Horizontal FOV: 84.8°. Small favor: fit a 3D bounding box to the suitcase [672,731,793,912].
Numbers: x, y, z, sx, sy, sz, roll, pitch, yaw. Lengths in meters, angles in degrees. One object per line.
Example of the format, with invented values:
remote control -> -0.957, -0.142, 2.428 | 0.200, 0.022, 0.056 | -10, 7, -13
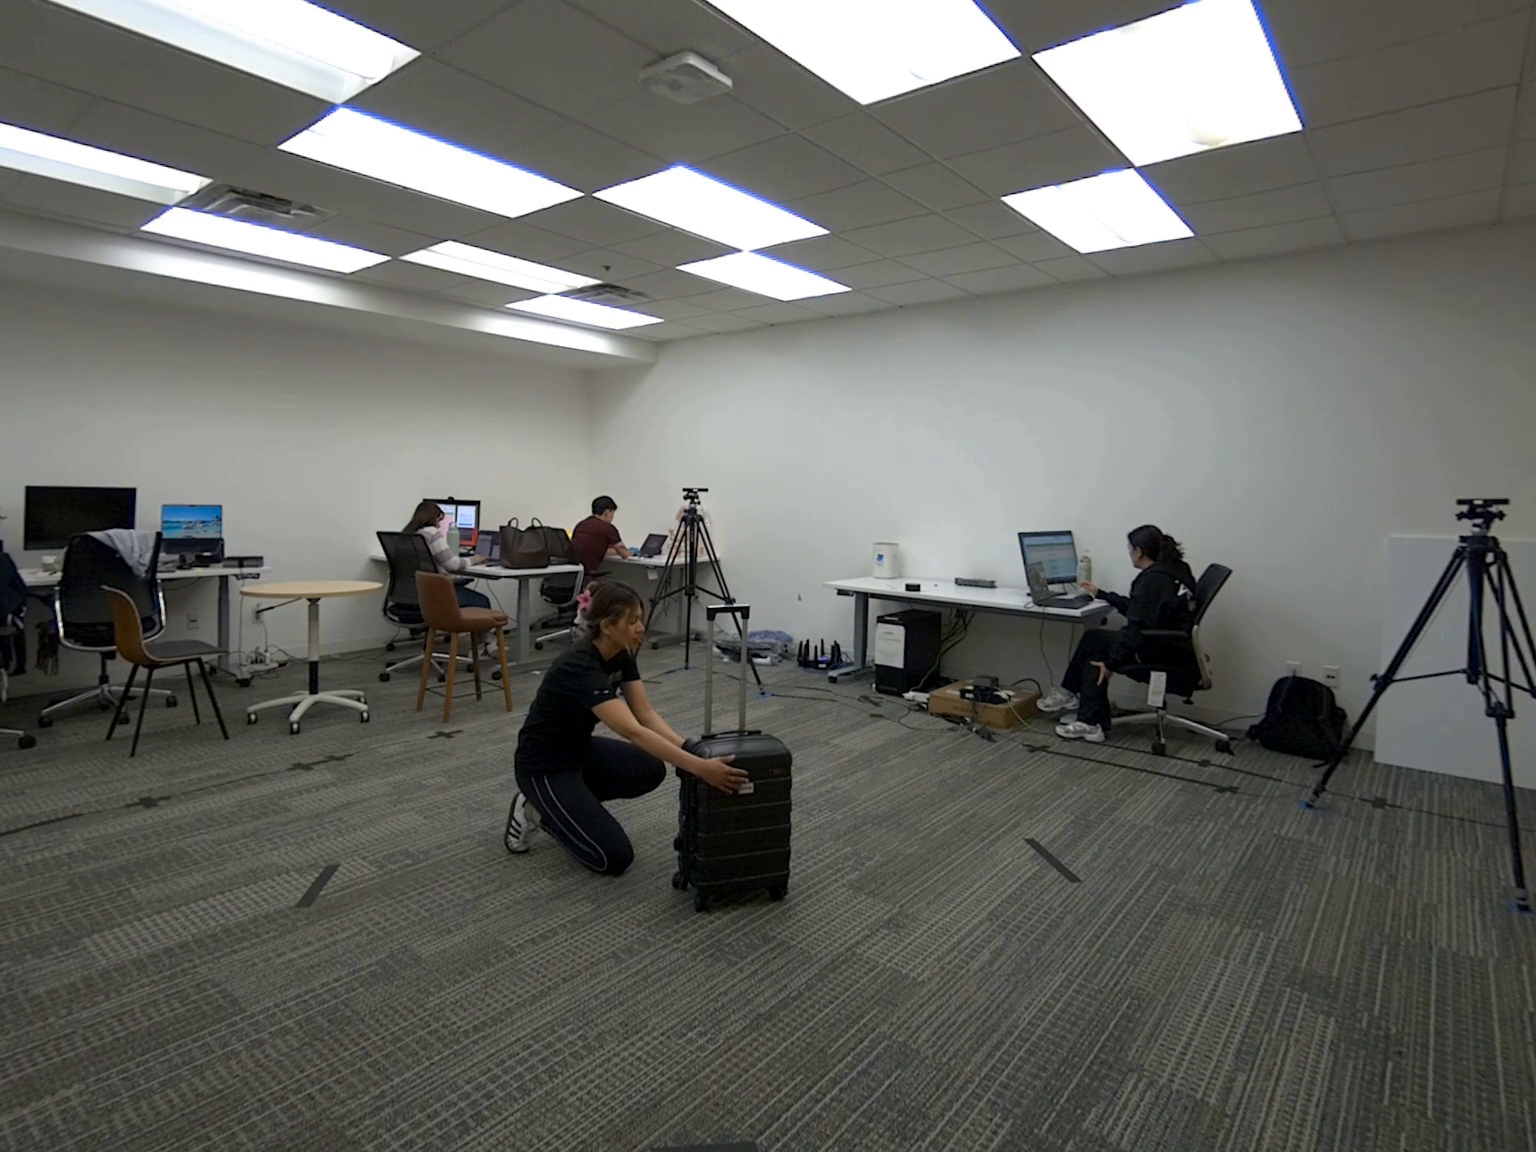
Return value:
suitcase -> -0.114, 0.619, 2.905 | 0.377, 0.975, 0.263 | 0, 4, -19
